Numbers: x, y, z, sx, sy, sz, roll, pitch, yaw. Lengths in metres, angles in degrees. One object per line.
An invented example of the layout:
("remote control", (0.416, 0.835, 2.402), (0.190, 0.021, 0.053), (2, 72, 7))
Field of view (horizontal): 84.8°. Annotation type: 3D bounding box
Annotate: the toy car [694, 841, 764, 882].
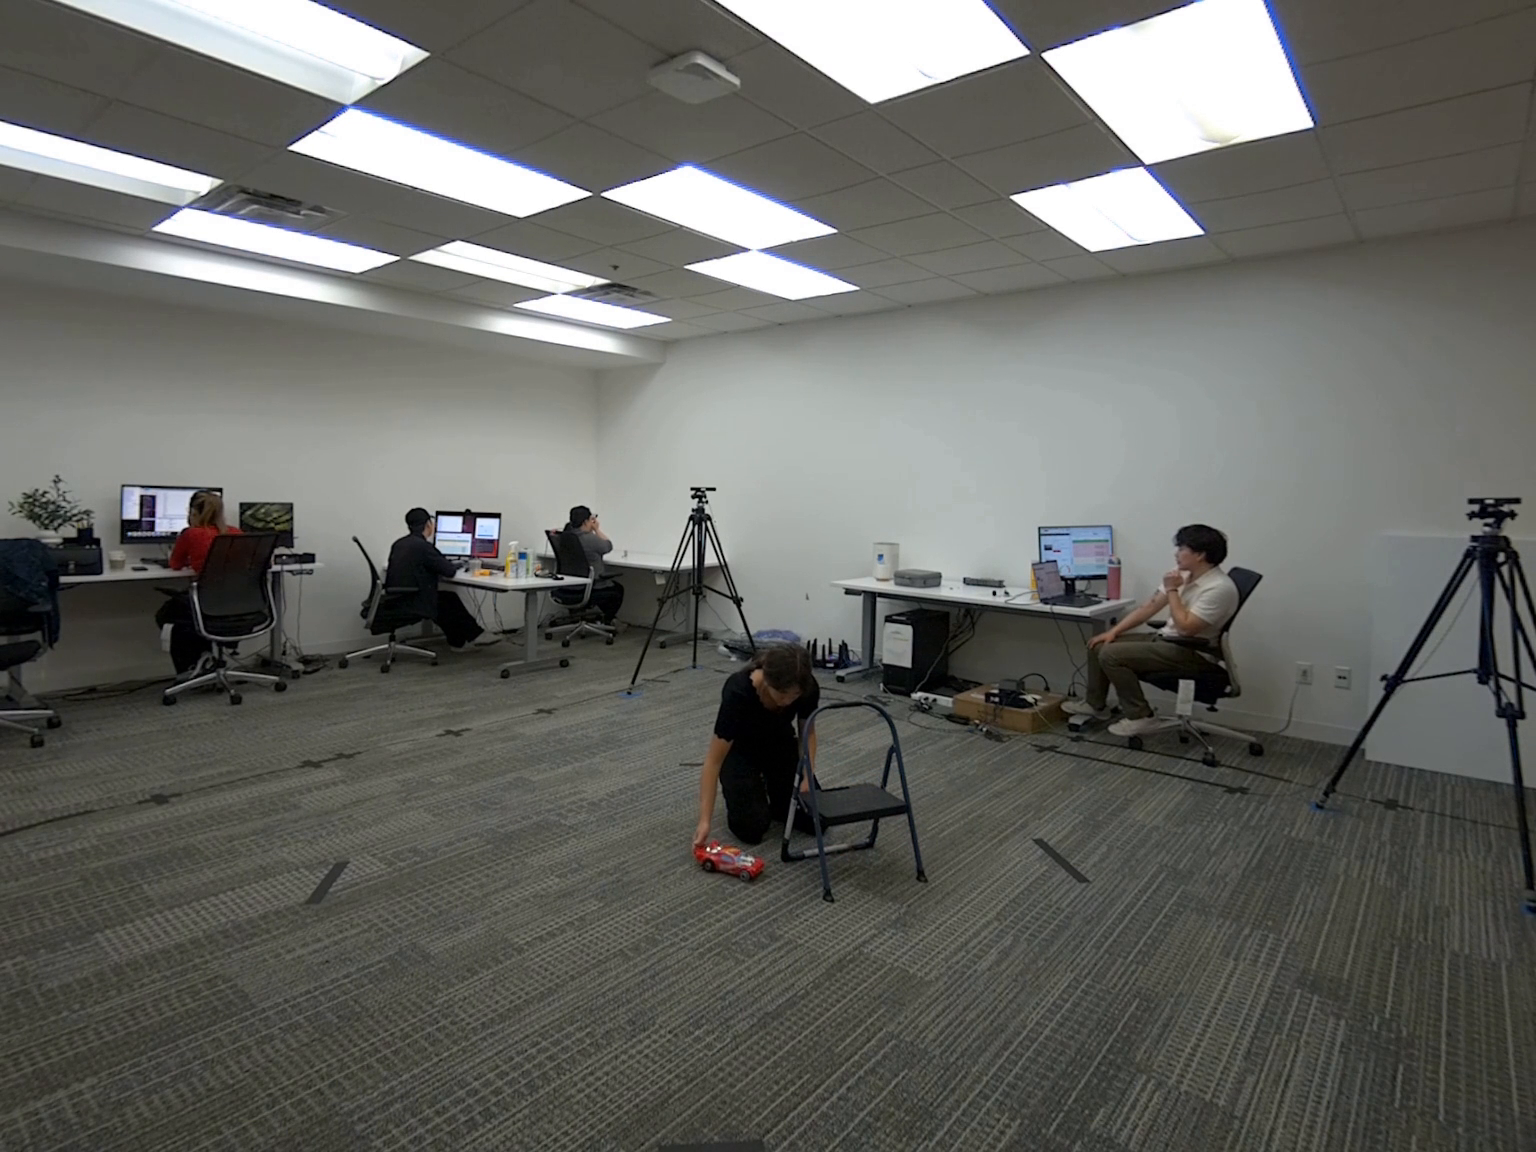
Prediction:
("toy car", (-0.156, 1.036, 3.109), (0.262, 0.082, 0.127), (16, 11, 26))
